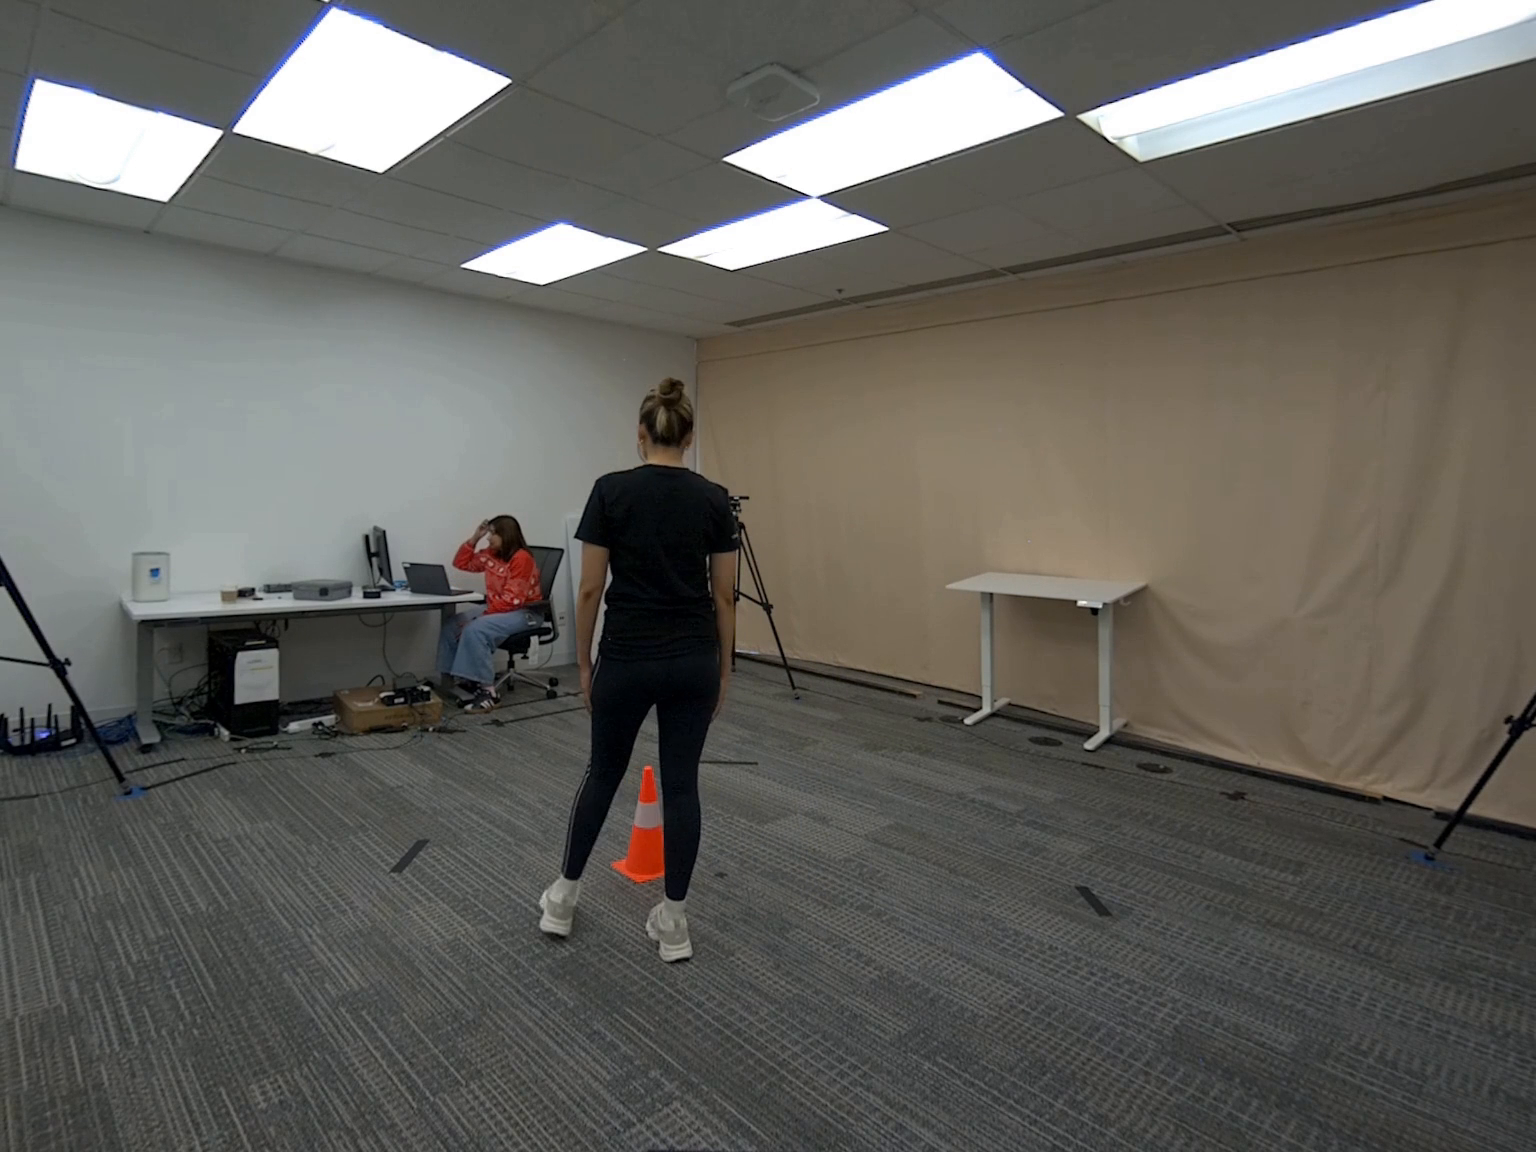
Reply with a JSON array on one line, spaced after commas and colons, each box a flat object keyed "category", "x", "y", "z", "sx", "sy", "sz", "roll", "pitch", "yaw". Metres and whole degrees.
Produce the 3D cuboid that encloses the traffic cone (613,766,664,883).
[{"category": "traffic cone", "x": -0.461, "y": 0.908, "z": 3.146, "sx": 0.210, "sy": 0.383, "sz": 0.198, "roll": 4, "pitch": 4, "yaw": 44}]
